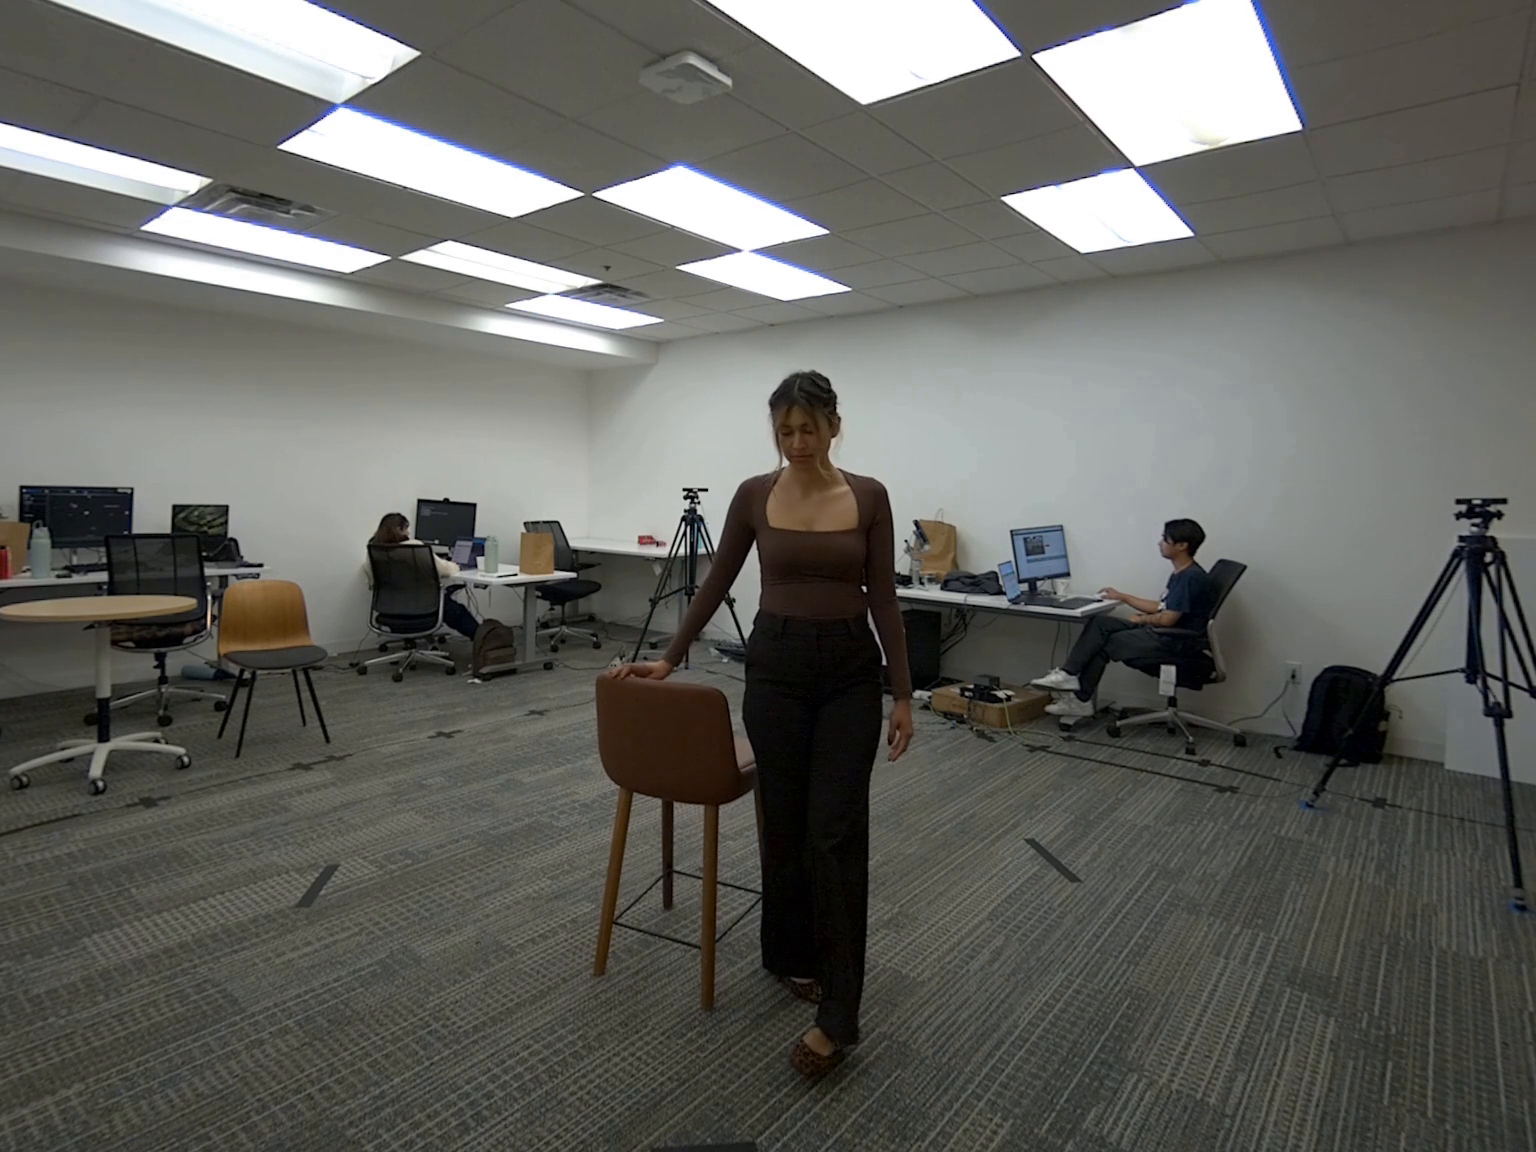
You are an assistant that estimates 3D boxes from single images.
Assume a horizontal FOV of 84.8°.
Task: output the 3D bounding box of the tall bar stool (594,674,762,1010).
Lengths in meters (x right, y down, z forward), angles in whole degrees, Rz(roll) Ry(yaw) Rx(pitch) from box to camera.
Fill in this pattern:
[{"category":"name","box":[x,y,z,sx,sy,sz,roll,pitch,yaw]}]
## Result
[{"category":"tall bar stool","box":[-0.250,0.690,2.518,0.468,0.886,0.457,2,5,25]}]
